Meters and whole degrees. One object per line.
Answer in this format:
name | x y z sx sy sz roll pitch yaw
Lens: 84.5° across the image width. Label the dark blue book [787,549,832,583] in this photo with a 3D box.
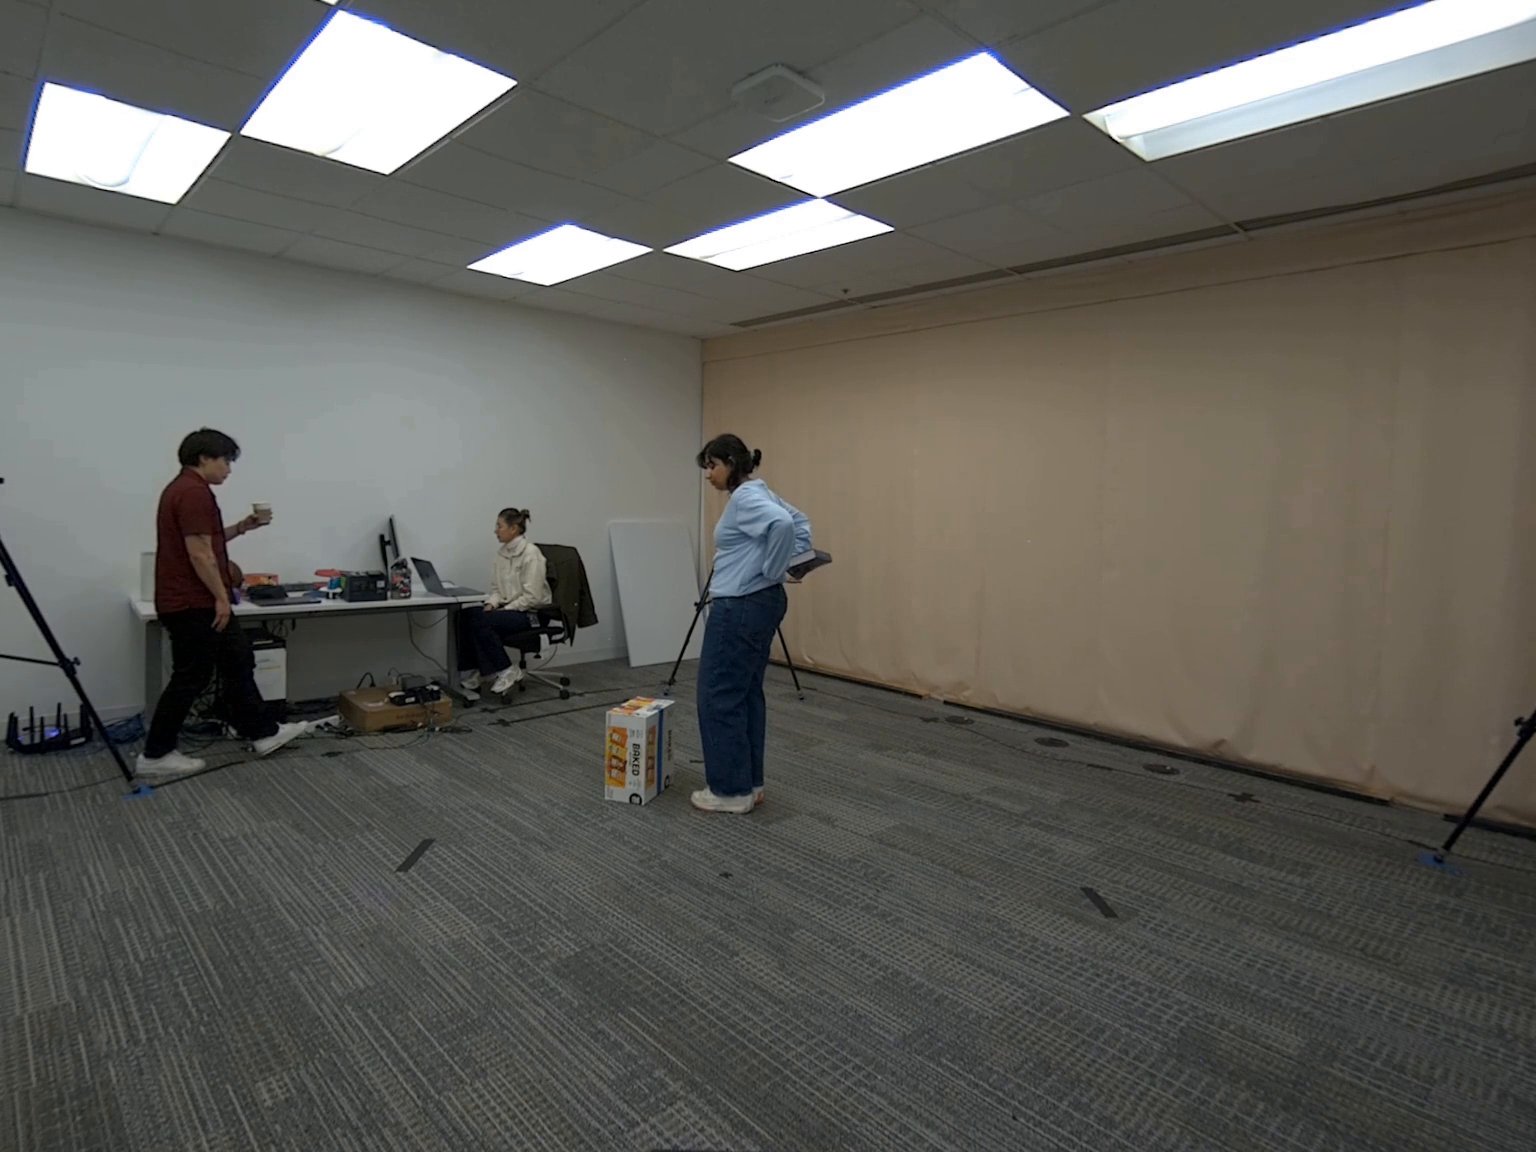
dark blue book | 0.151 -0.066 3.763 0.164 0.045 0.240 -21 -10 16
